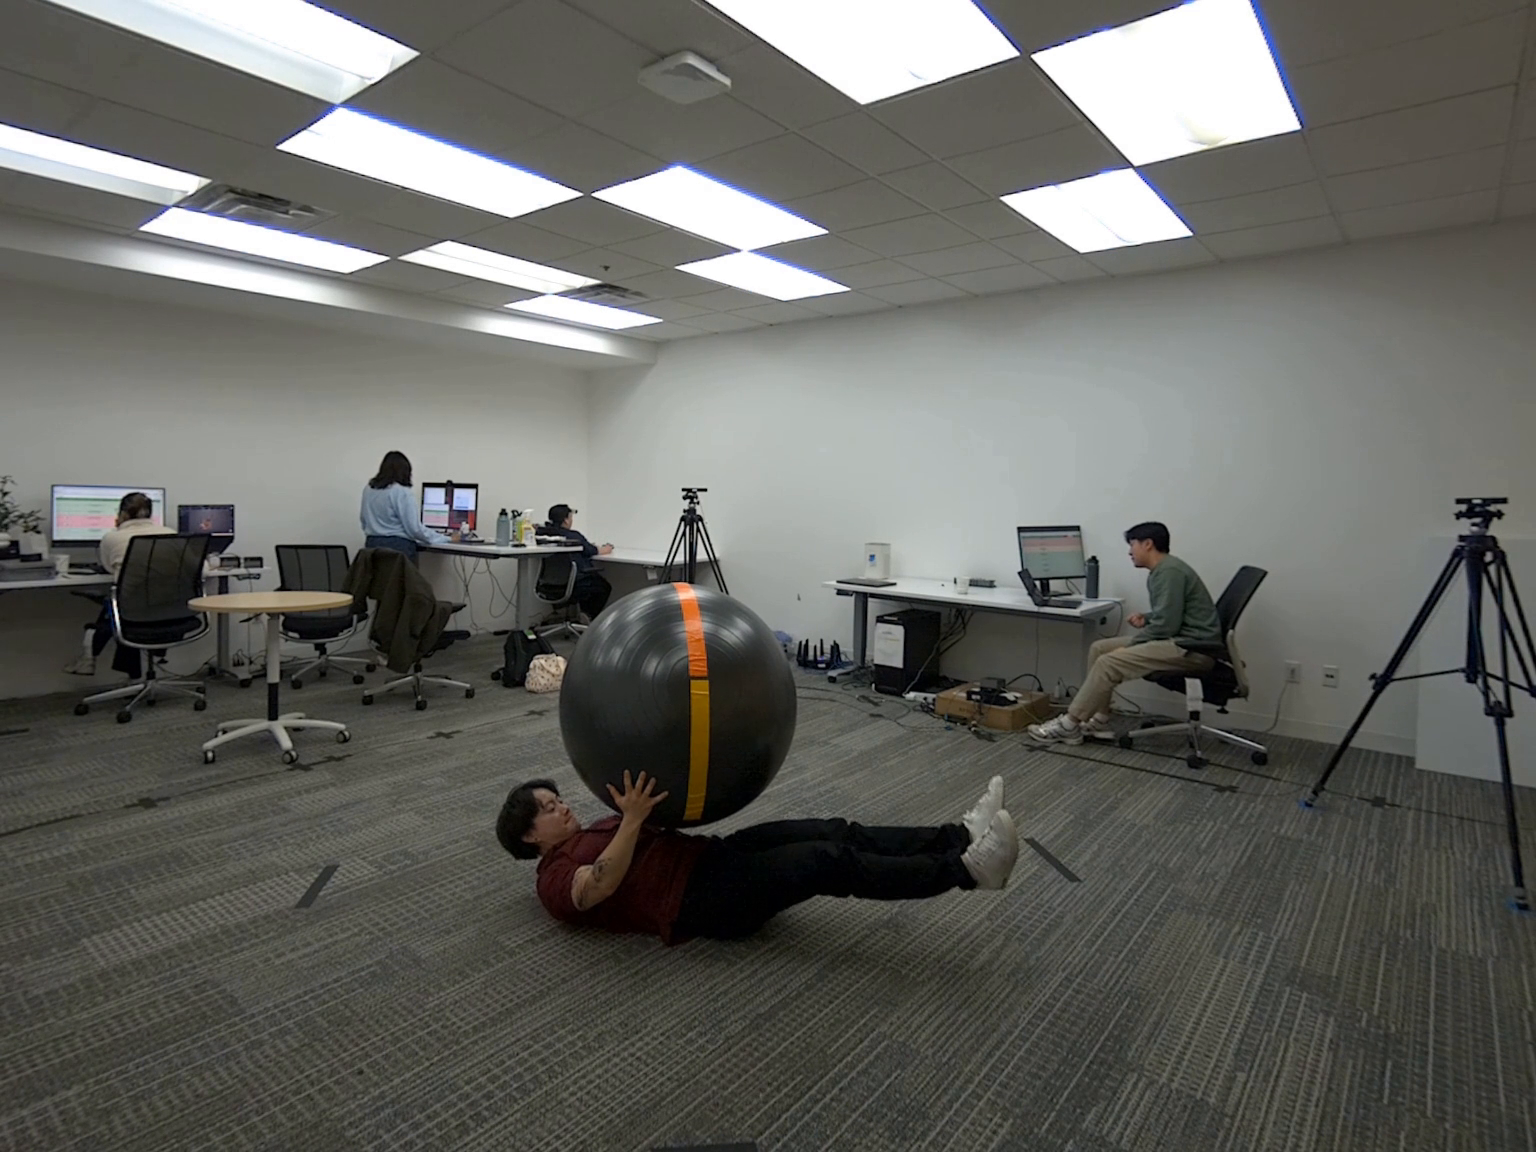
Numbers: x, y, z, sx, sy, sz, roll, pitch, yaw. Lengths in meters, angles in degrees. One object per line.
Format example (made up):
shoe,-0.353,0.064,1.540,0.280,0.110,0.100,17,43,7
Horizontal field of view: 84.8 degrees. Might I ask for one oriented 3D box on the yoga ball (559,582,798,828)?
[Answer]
yoga ball,-0.291,0.404,2.719,0.757,0.755,0.762,1,4,-2
